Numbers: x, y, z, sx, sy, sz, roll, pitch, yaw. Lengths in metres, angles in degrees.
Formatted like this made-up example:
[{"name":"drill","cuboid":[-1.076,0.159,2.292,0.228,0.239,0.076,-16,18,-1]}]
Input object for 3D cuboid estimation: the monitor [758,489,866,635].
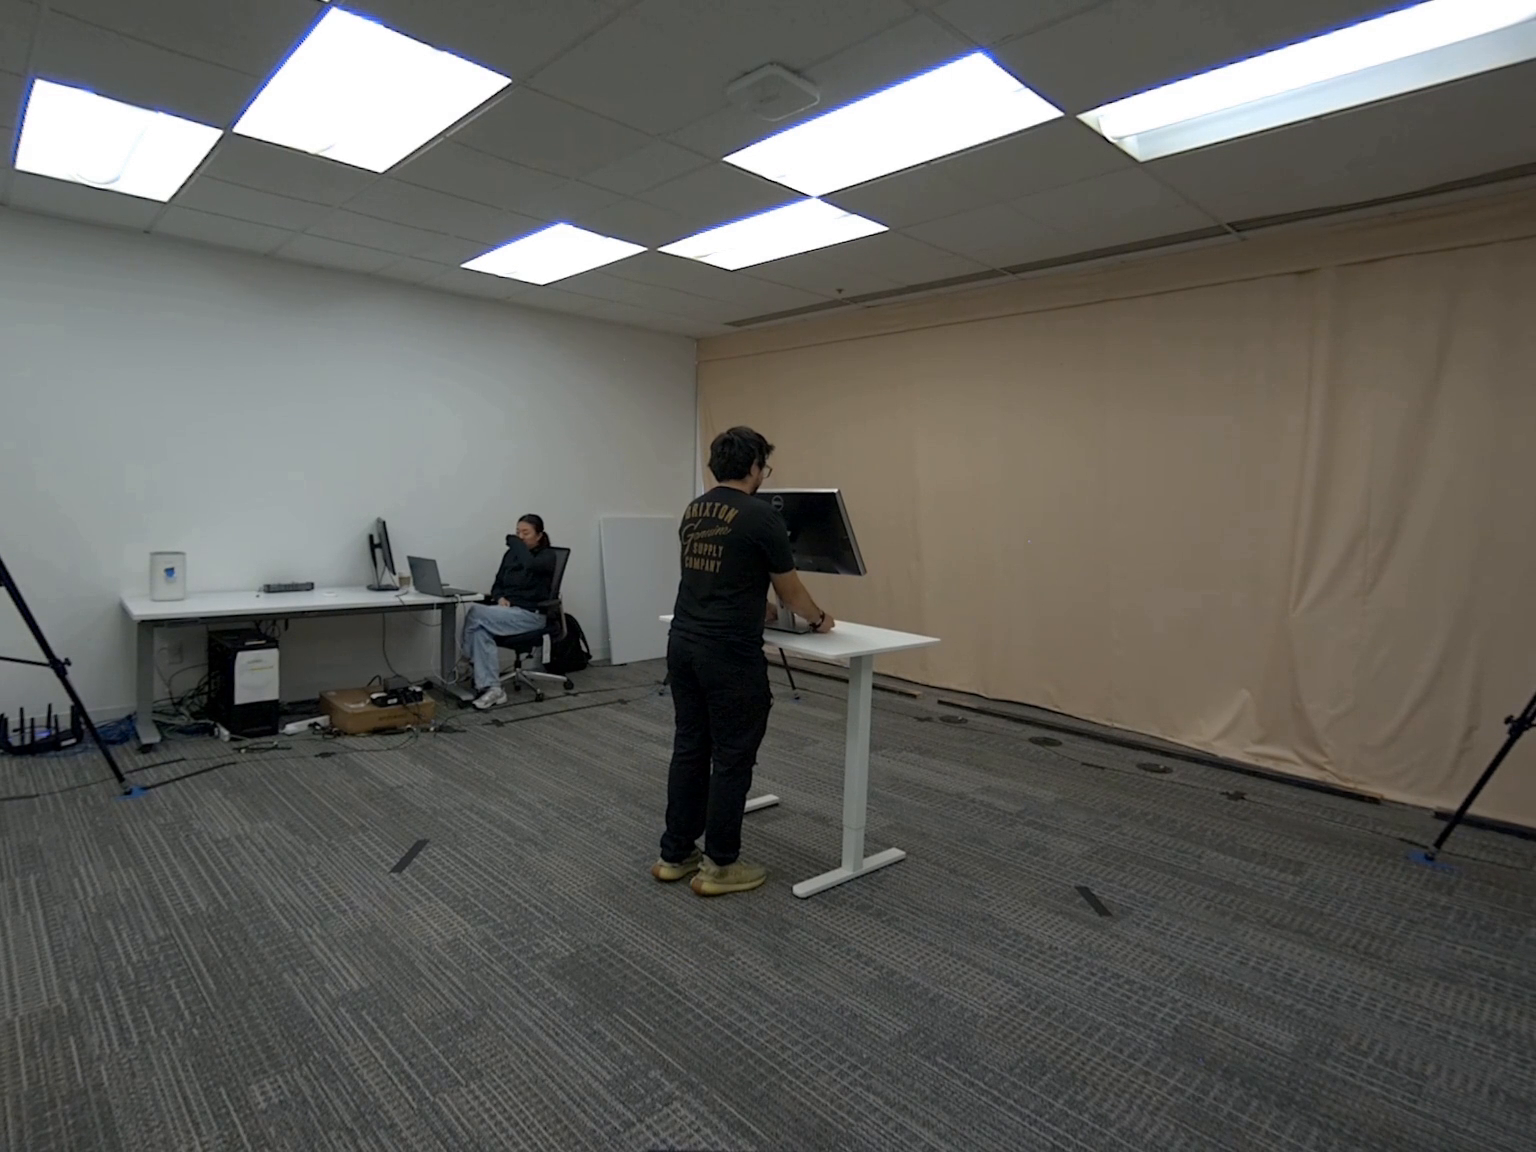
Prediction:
[{"name":"monitor","cuboid":[0.067,-0.061,3.260,0.580,0.545,0.208,5,26,43]}]
